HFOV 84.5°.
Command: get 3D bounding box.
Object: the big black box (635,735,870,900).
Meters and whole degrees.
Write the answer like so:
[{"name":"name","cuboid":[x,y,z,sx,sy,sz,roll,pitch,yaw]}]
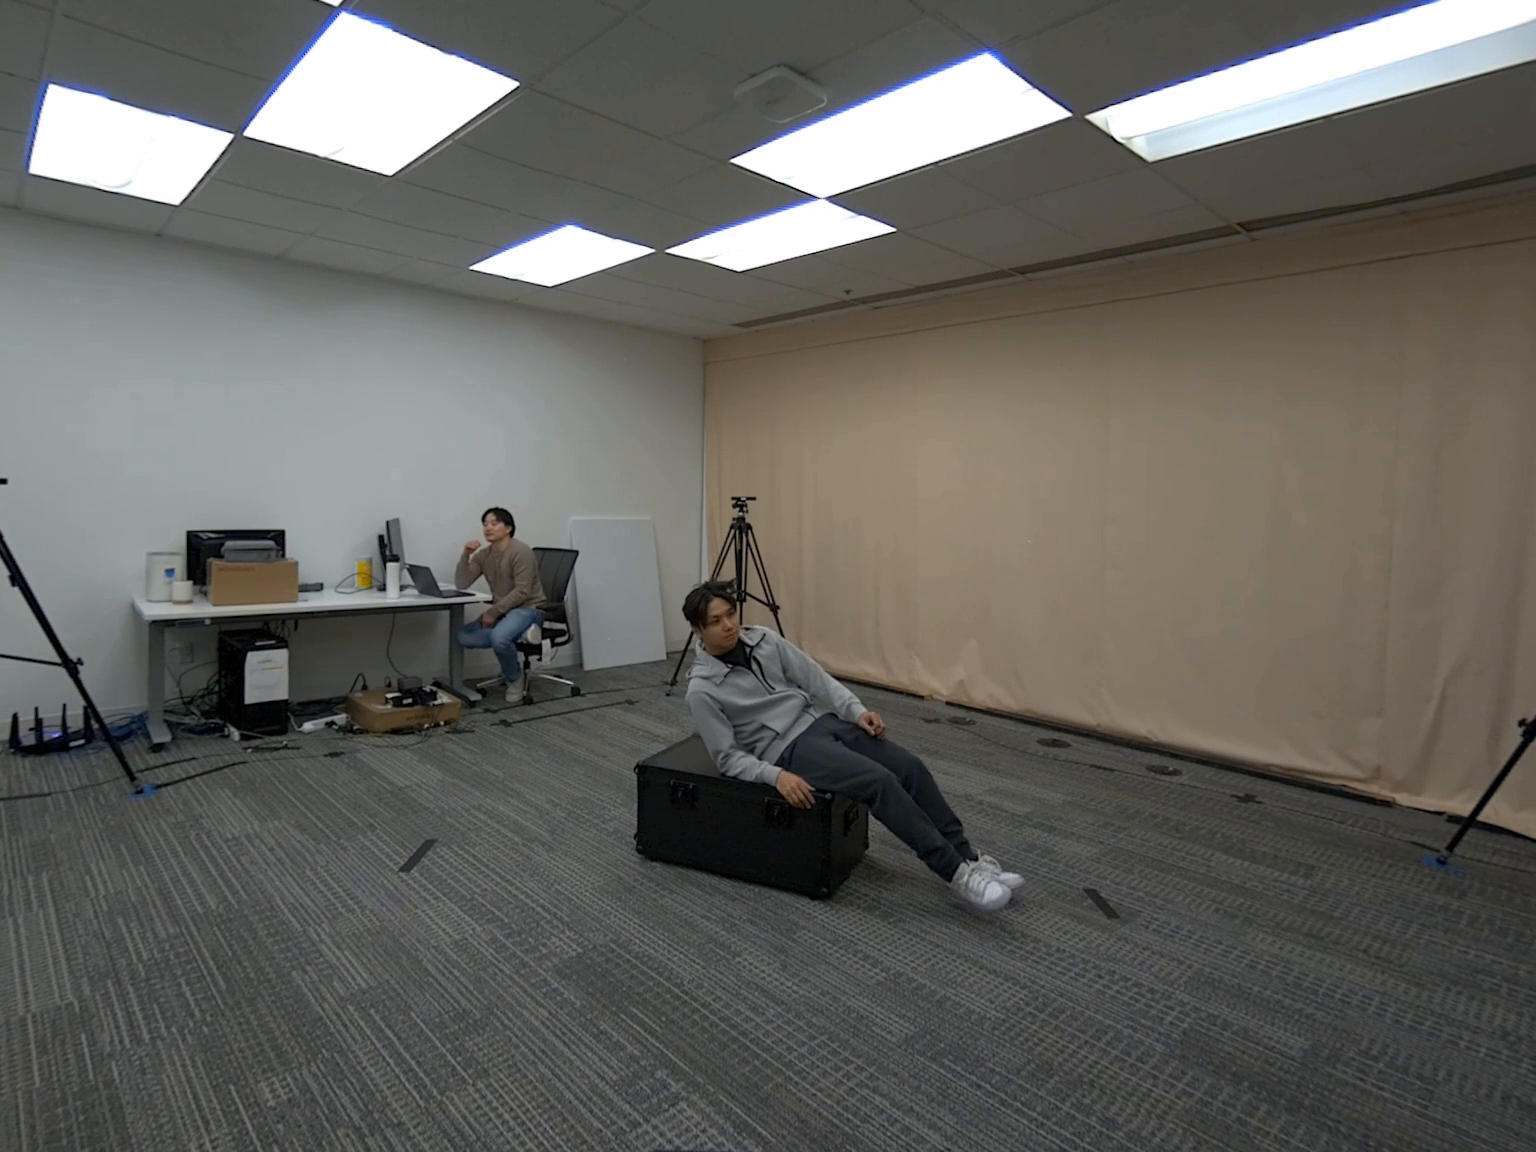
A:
[{"name":"big black box","cuboid":[-0.036,0.907,3.256,0.878,0.395,0.513,3,5,25]}]
